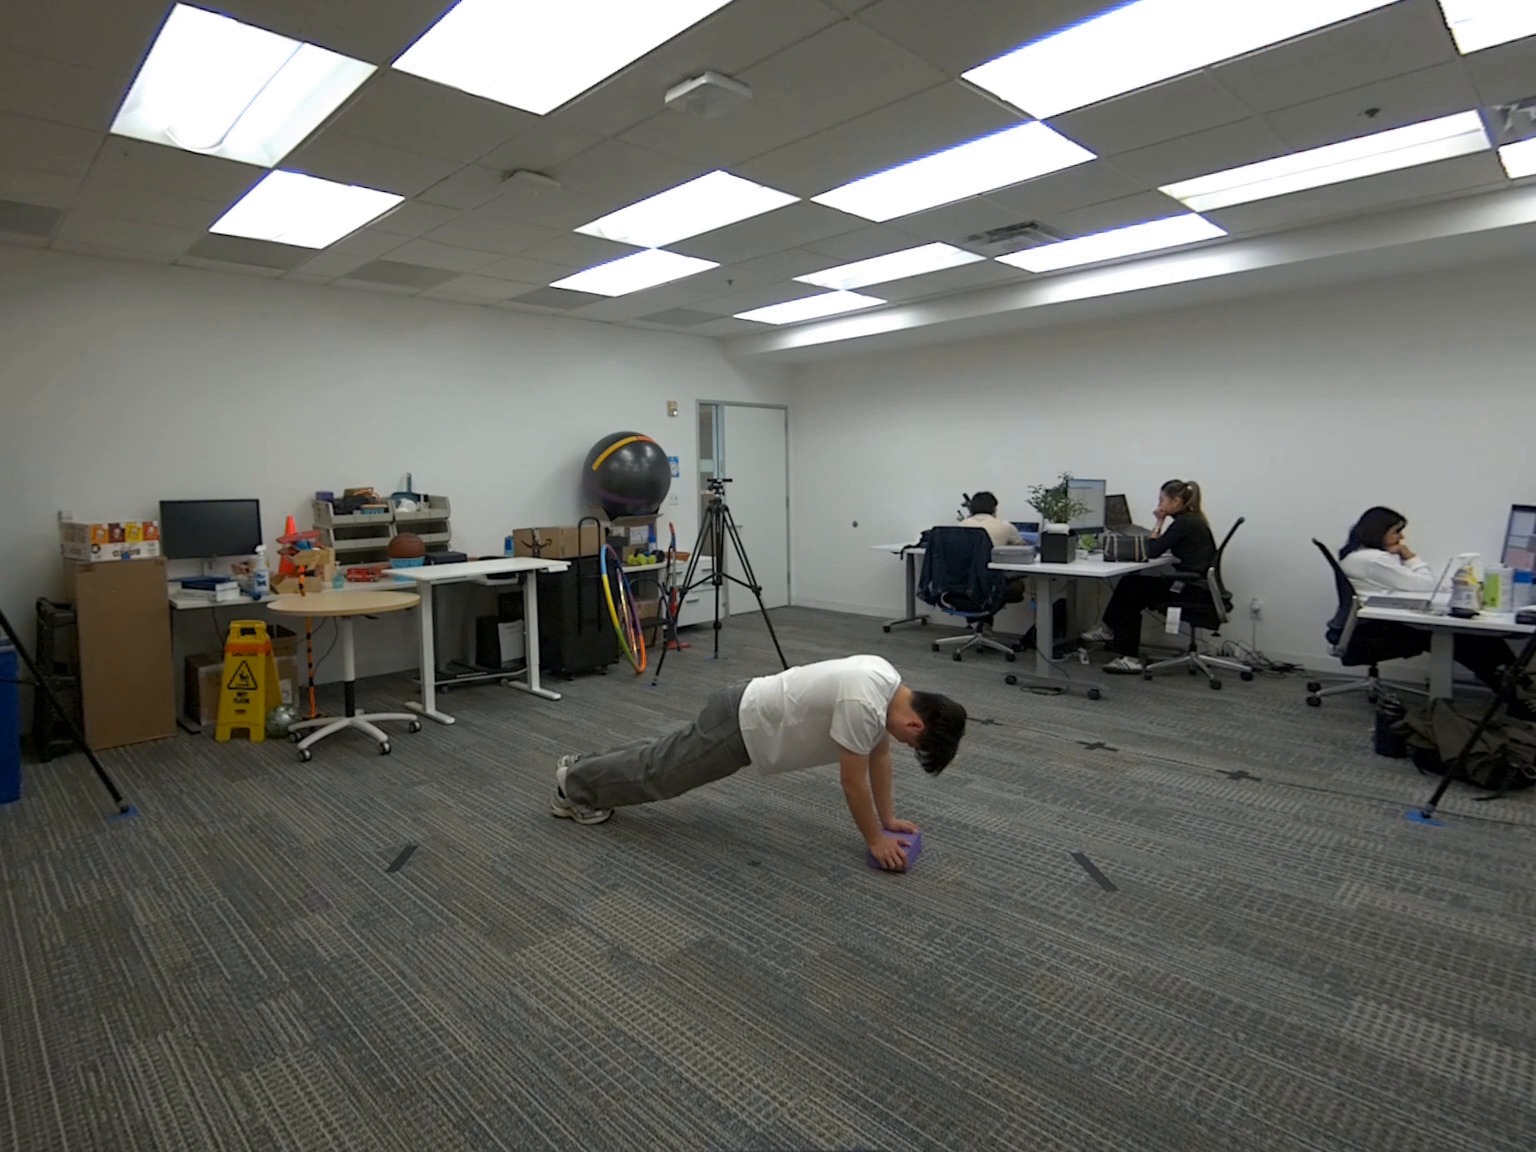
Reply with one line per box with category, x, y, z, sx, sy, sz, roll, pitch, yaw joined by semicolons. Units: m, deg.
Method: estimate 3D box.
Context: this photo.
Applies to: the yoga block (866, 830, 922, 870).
yoga block;0.465;0.998;3.140;0.152;0.076;0.225;4;7;24
